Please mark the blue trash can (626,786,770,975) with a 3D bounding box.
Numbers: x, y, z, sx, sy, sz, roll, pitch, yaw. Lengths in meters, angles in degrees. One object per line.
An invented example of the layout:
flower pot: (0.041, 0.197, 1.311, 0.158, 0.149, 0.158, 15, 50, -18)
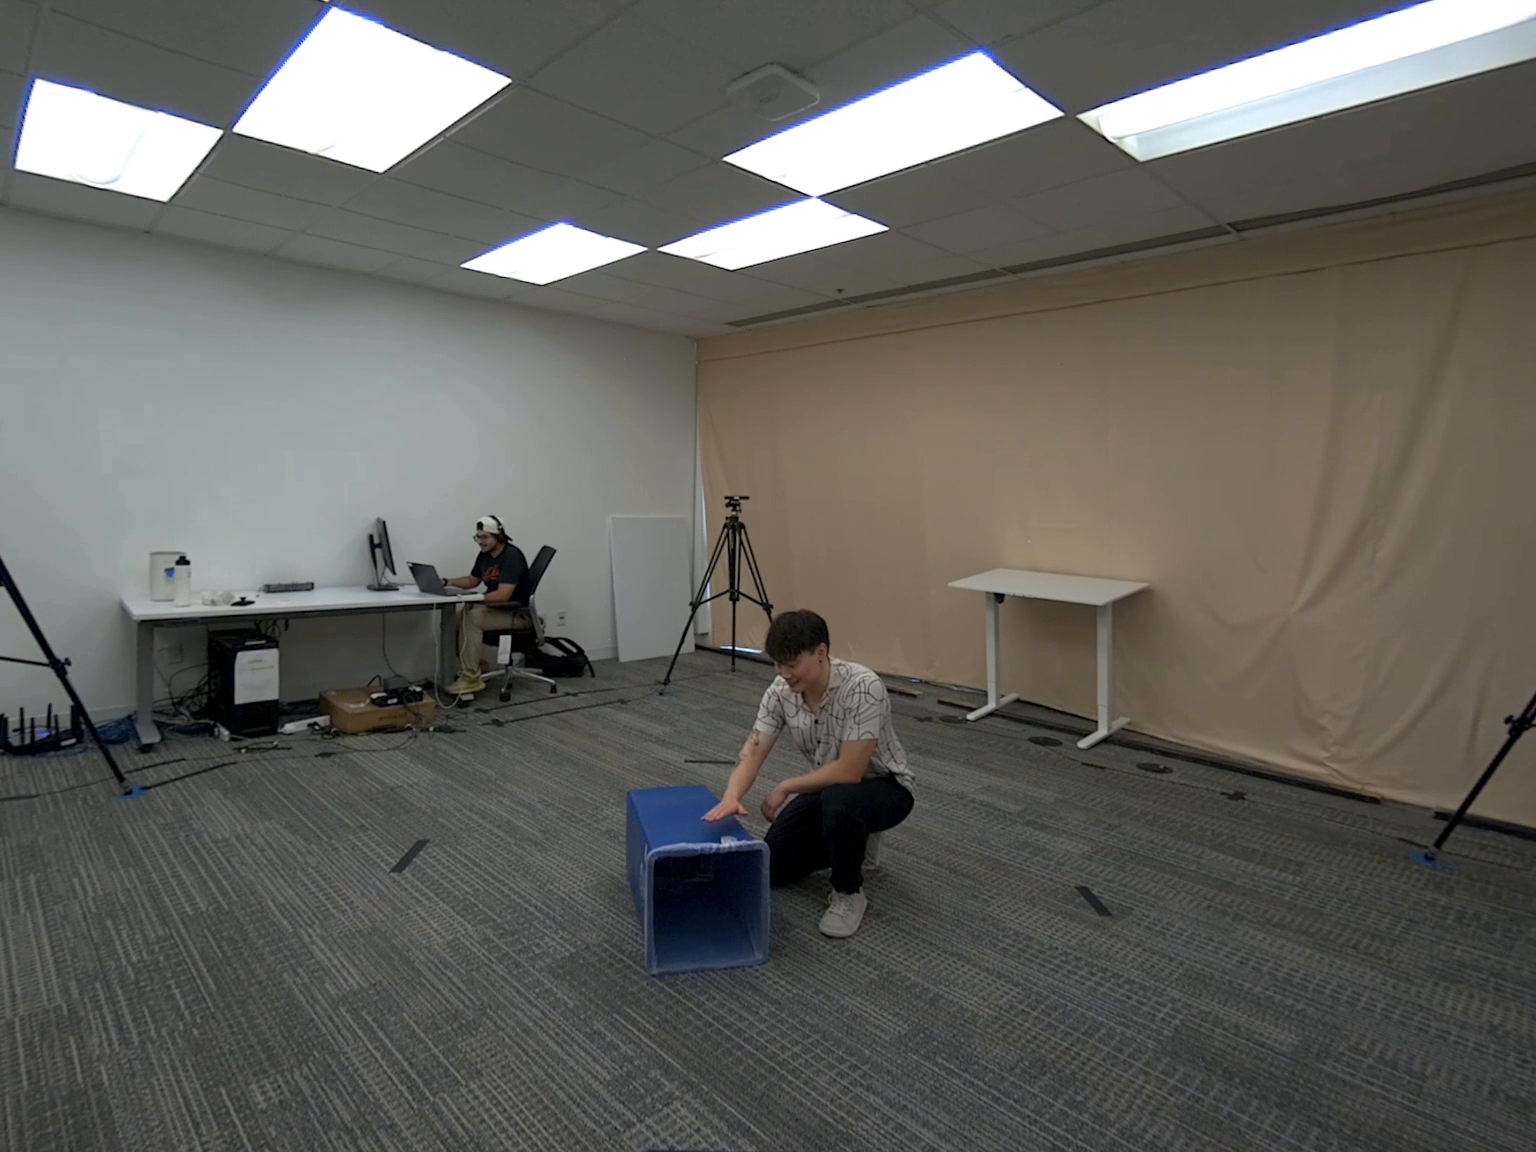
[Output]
blue trash can: (-0.275, 0.960, 2.809, 0.373, 0.374, 0.722, 1, 1, -16)
